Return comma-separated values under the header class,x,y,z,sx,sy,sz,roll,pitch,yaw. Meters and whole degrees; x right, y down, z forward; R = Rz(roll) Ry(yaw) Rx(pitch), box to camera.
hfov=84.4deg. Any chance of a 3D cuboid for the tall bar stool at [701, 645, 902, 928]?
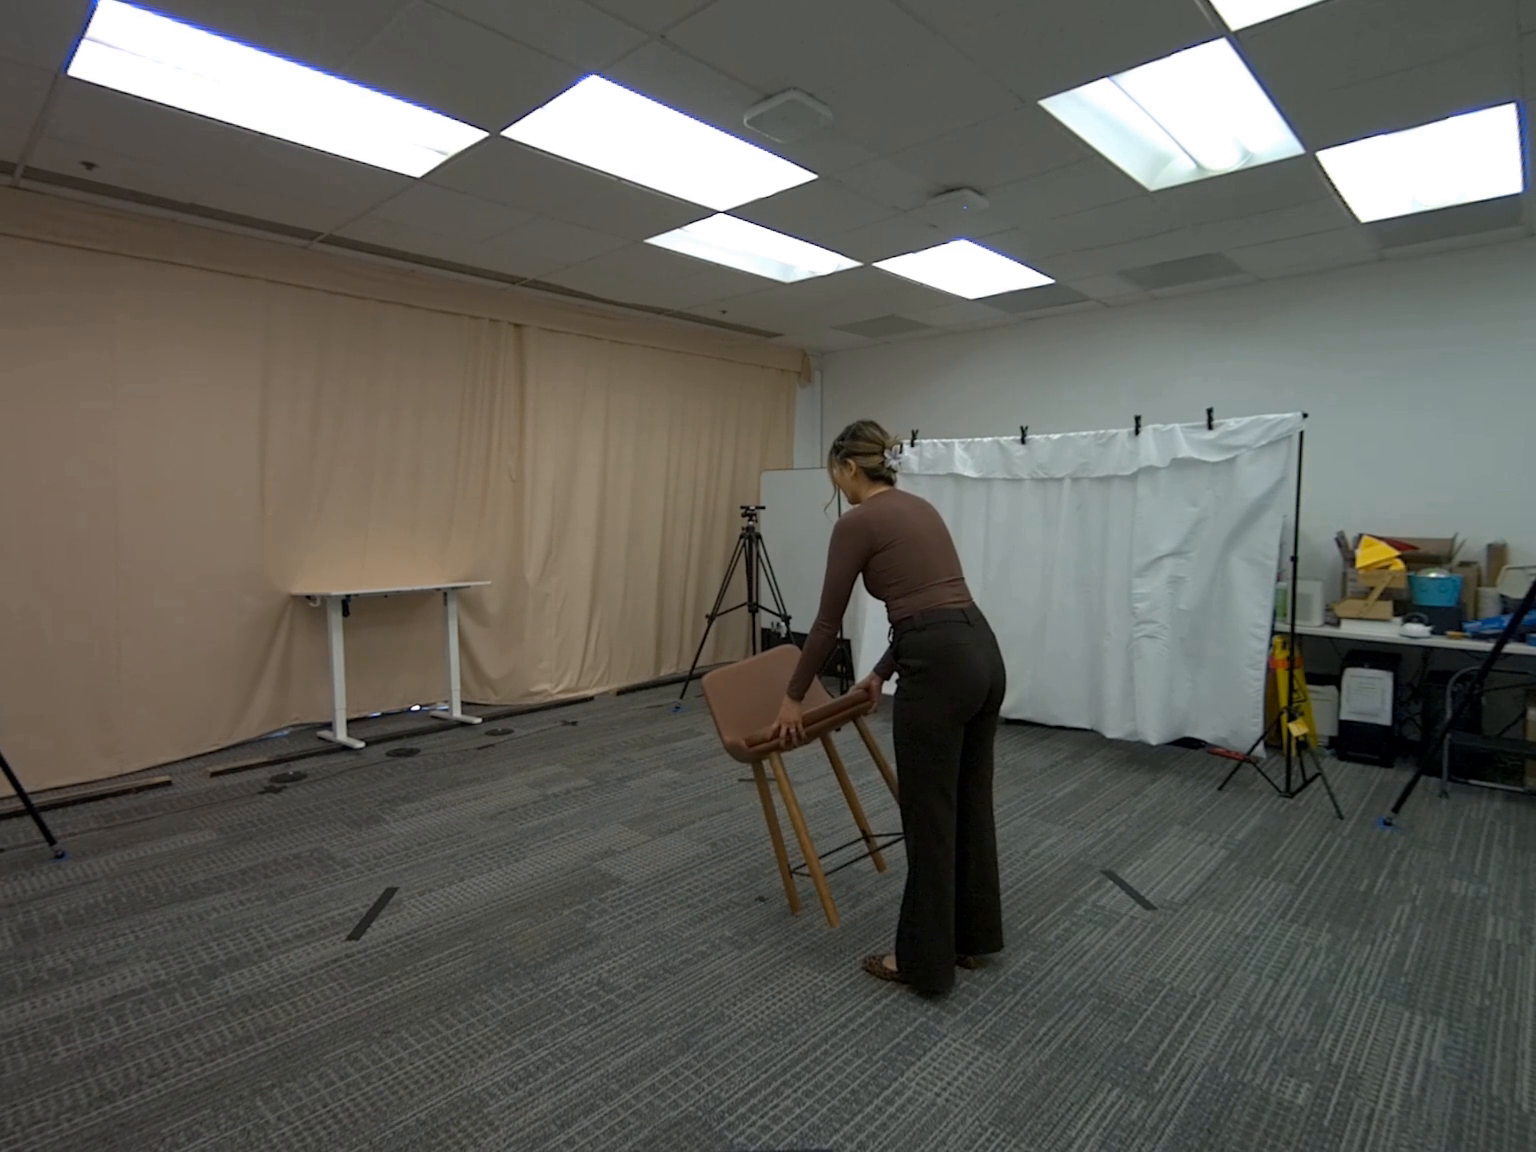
class,x,y,z,sx,sy,sz,roll,pitch,yaw
tall bar stool,0.148,0.645,2.833,0.449,0.902,0.468,-17,-15,-20
